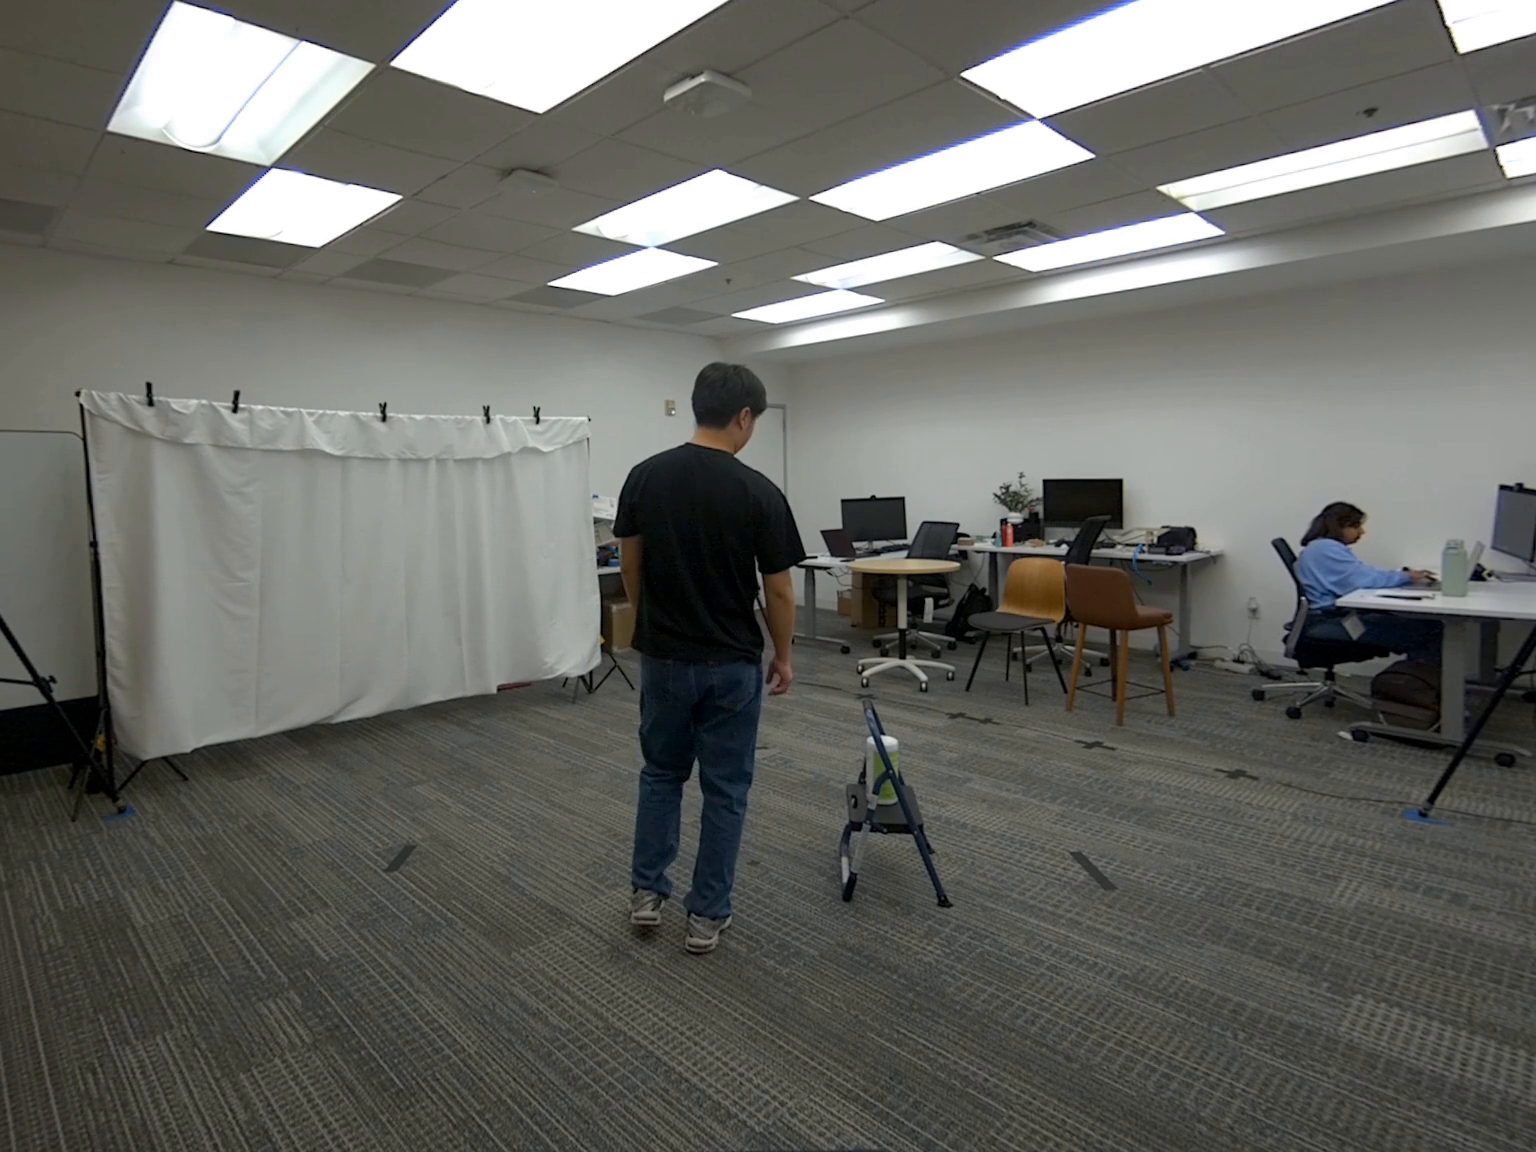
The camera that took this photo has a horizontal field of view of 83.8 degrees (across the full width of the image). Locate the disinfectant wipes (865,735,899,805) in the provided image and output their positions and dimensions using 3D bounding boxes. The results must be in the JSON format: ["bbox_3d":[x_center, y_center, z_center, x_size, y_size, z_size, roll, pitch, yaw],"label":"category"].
[{"bbox_3d":[0.402,0.680,2.992,0.118,0.216,0.118,0,6,-2],"label":"disinfectant wipes"}]
